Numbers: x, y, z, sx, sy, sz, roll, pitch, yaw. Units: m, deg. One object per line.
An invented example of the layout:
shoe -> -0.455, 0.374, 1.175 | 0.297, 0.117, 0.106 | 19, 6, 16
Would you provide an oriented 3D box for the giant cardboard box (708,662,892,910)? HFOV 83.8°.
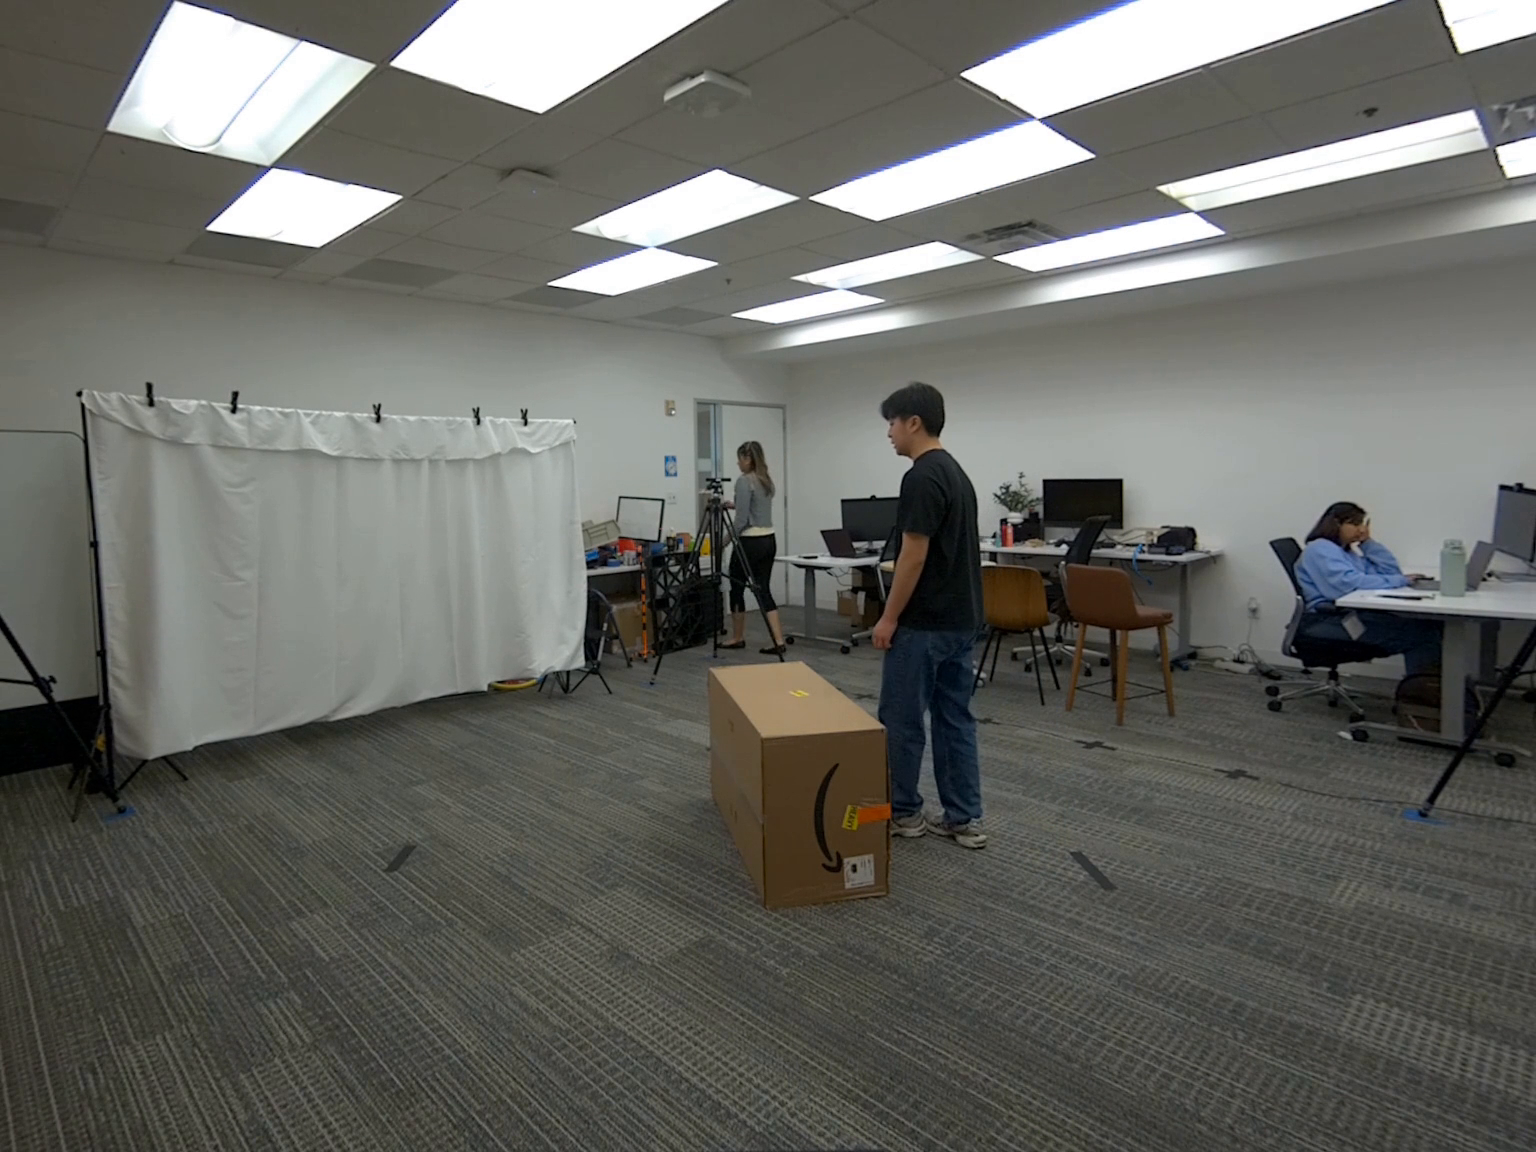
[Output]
giant cardboard box -> 0.073, 0.729, 3.281 | 0.441, 0.581, 1.044 | -1, 6, -14
